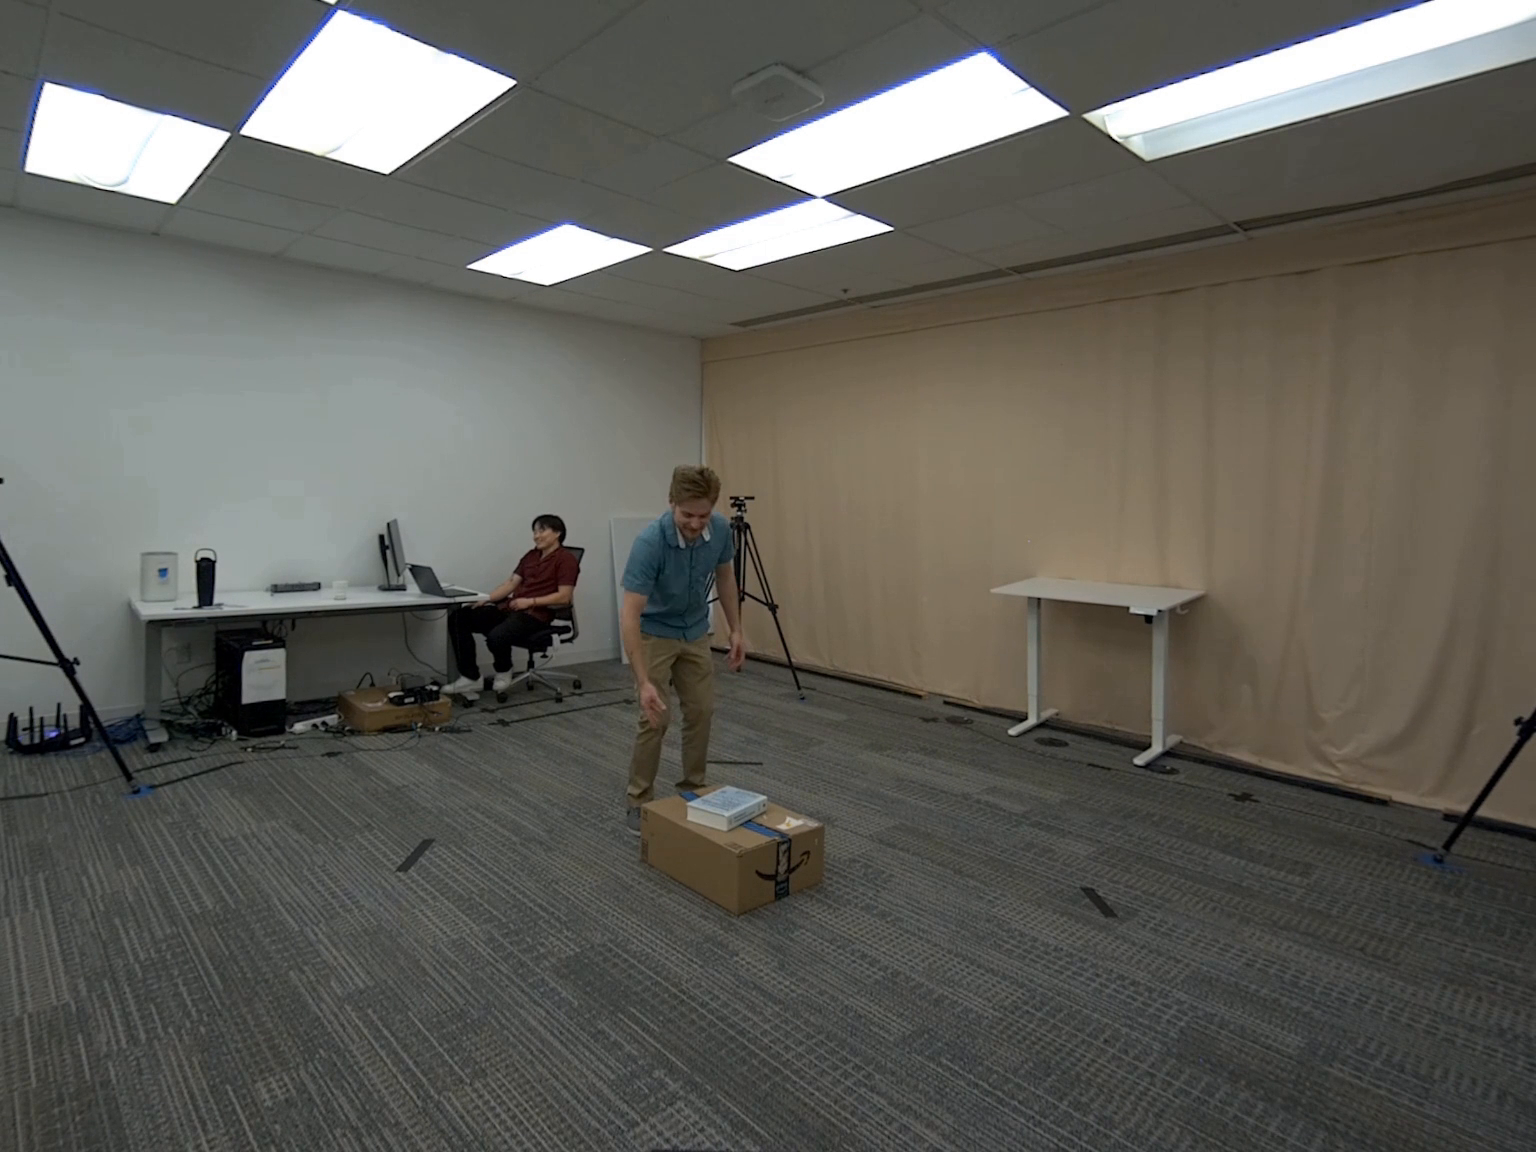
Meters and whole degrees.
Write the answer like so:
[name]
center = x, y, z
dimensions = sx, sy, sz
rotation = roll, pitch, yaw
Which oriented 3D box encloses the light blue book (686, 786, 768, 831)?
[light blue book]
center = -0.162, 0.859, 3.132
dimensions = 0.196, 0.059, 0.255
rotation = 4, 5, 34
